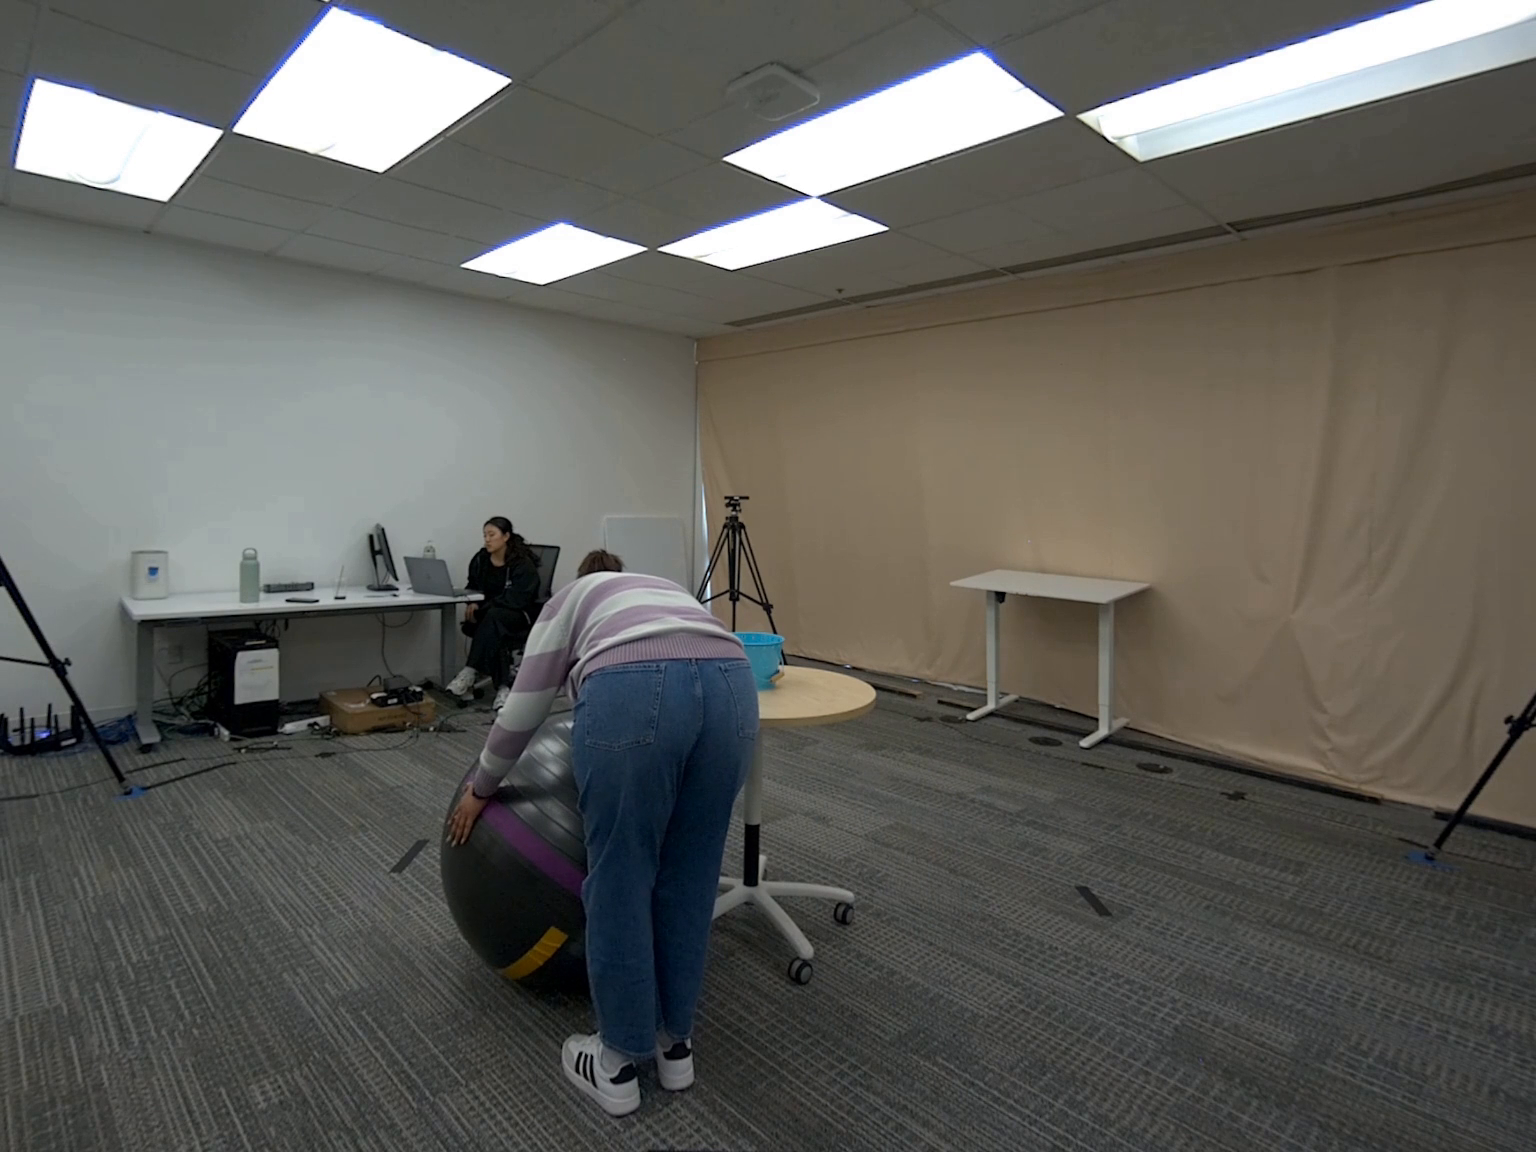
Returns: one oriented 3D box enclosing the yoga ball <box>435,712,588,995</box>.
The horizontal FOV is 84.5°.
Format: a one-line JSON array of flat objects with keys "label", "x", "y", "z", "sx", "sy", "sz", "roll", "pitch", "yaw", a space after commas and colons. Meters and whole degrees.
[{"label": "yoga ball", "x": -0.579, "y": 0.783, "z": 2.474, "sx": 0.757, "sy": 0.756, "sz": 0.761, "roll": 1, "pitch": 4, "yaw": -1}]
